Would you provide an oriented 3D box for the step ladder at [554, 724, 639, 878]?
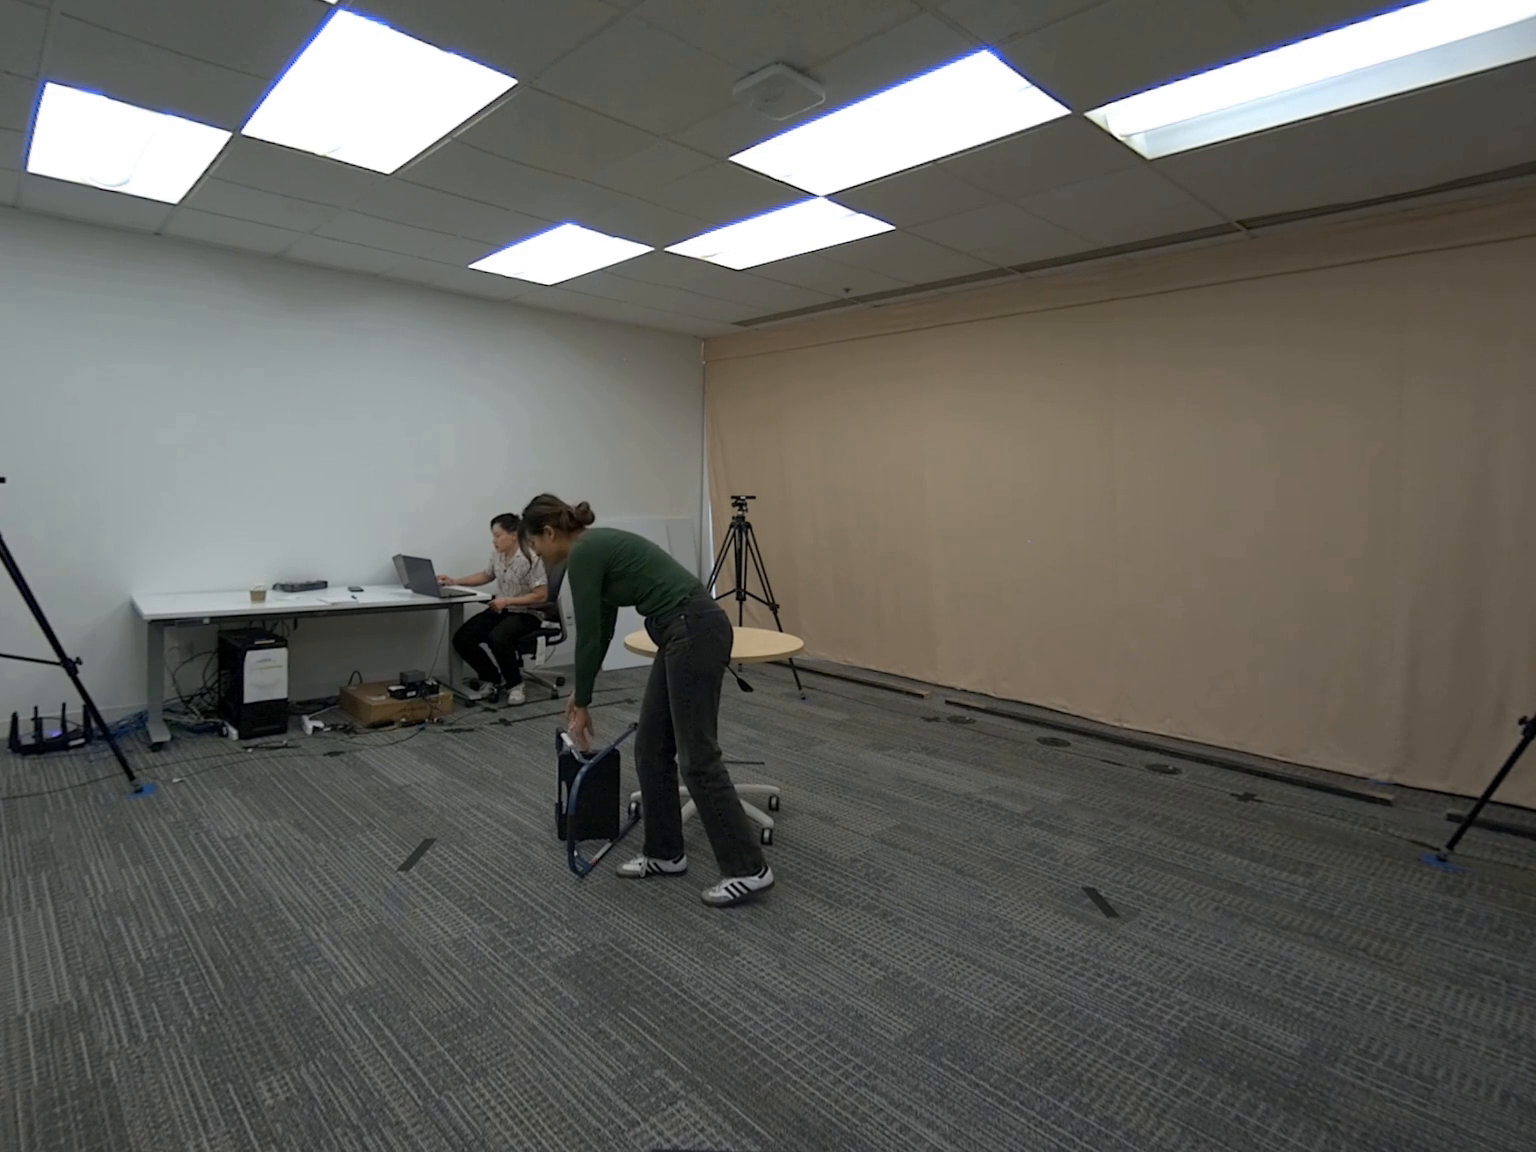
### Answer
[{"bbox_3d":[-0.671,0.861,3.250,0.347,0.429,0.613,-1,6,-10],"label":"step ladder"}]
